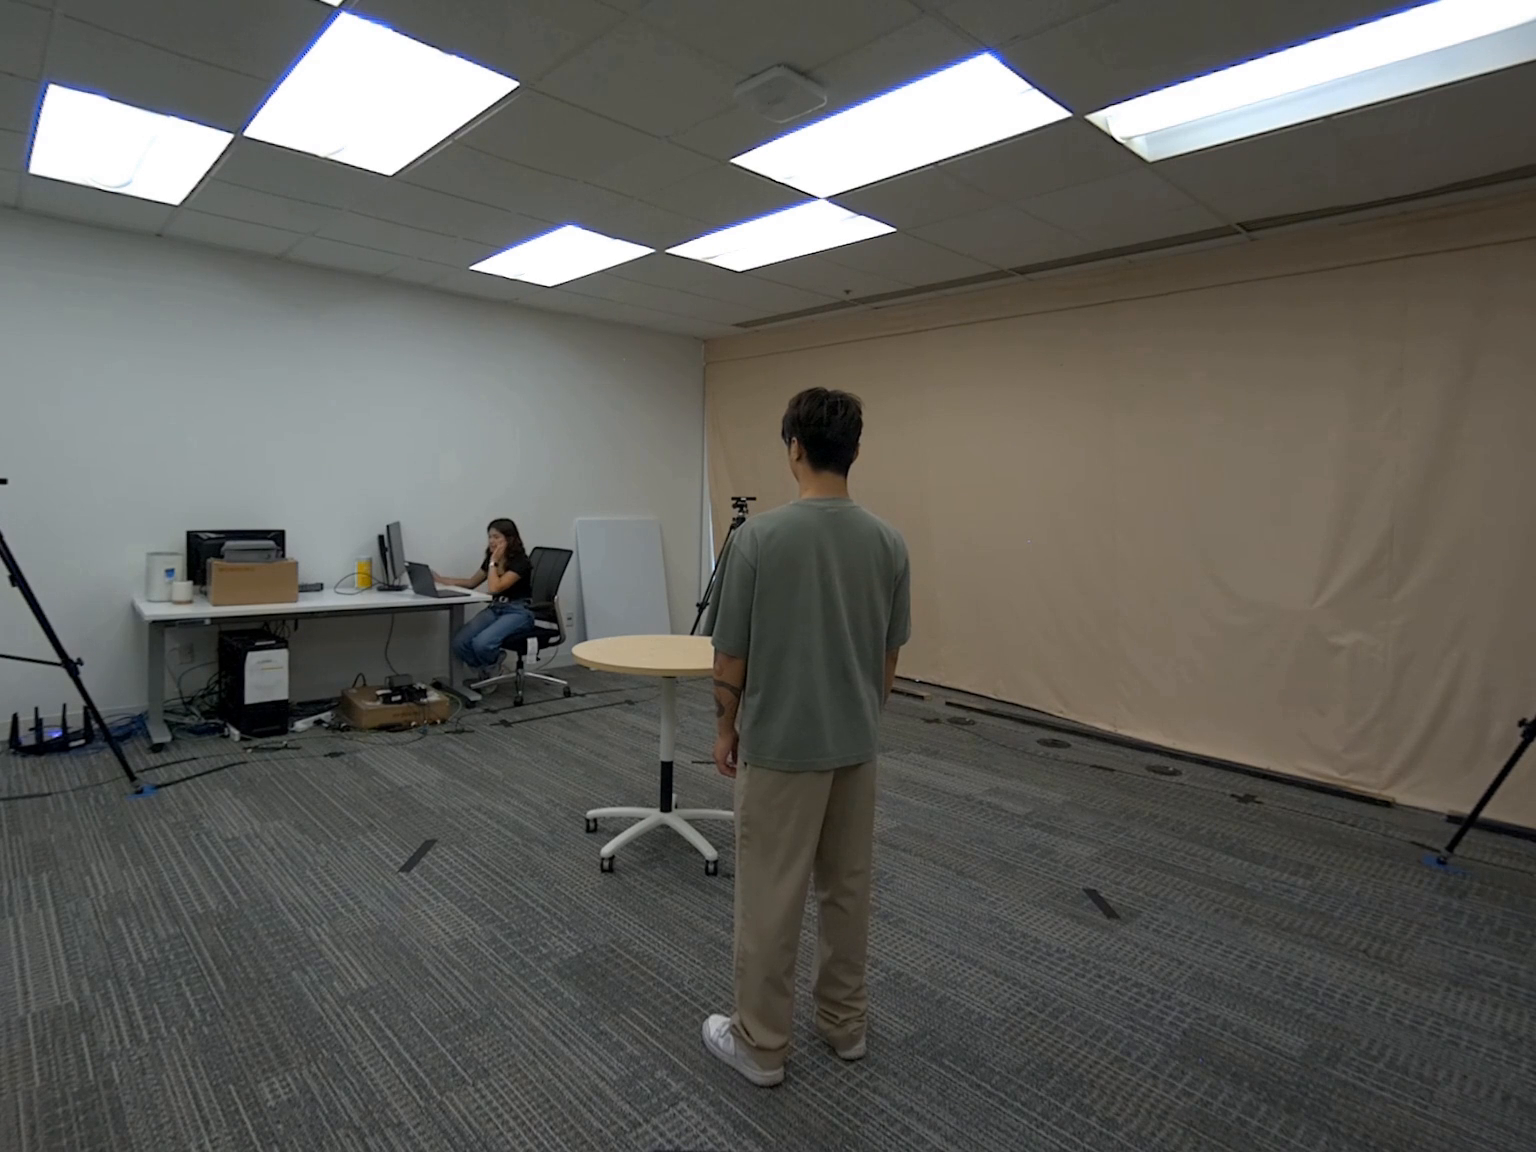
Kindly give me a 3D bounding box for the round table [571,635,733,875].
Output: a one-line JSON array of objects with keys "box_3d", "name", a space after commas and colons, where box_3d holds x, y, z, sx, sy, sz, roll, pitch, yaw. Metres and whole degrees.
[{"box_3d": [-0.422, 0.684, 3.340, 0.784, 0.785, 0.787, 1, 4, -1], "name": "round table"}]
